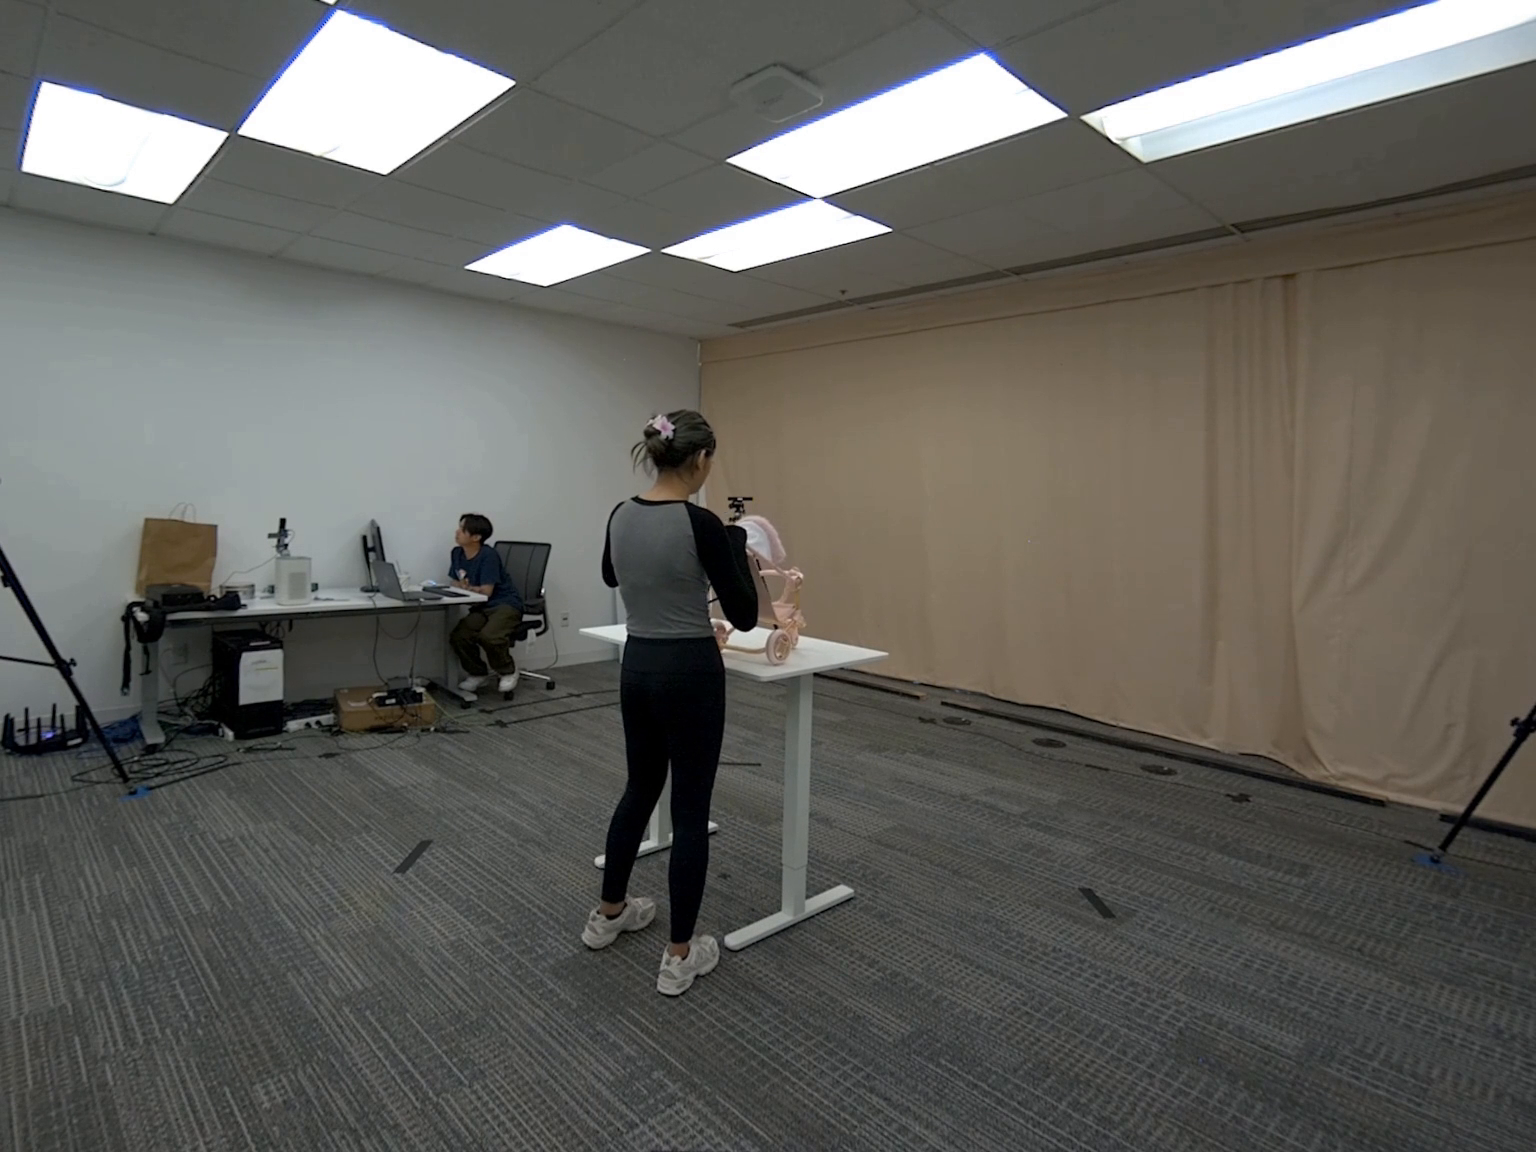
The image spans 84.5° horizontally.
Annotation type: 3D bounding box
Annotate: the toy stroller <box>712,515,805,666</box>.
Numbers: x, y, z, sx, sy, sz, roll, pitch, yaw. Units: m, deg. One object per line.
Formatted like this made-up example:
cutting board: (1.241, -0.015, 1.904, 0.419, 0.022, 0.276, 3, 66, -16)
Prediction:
toy stroller: (-0.038, 0.042, 2.721, 0.288, 0.527, 0.337, 5, 23, 42)
